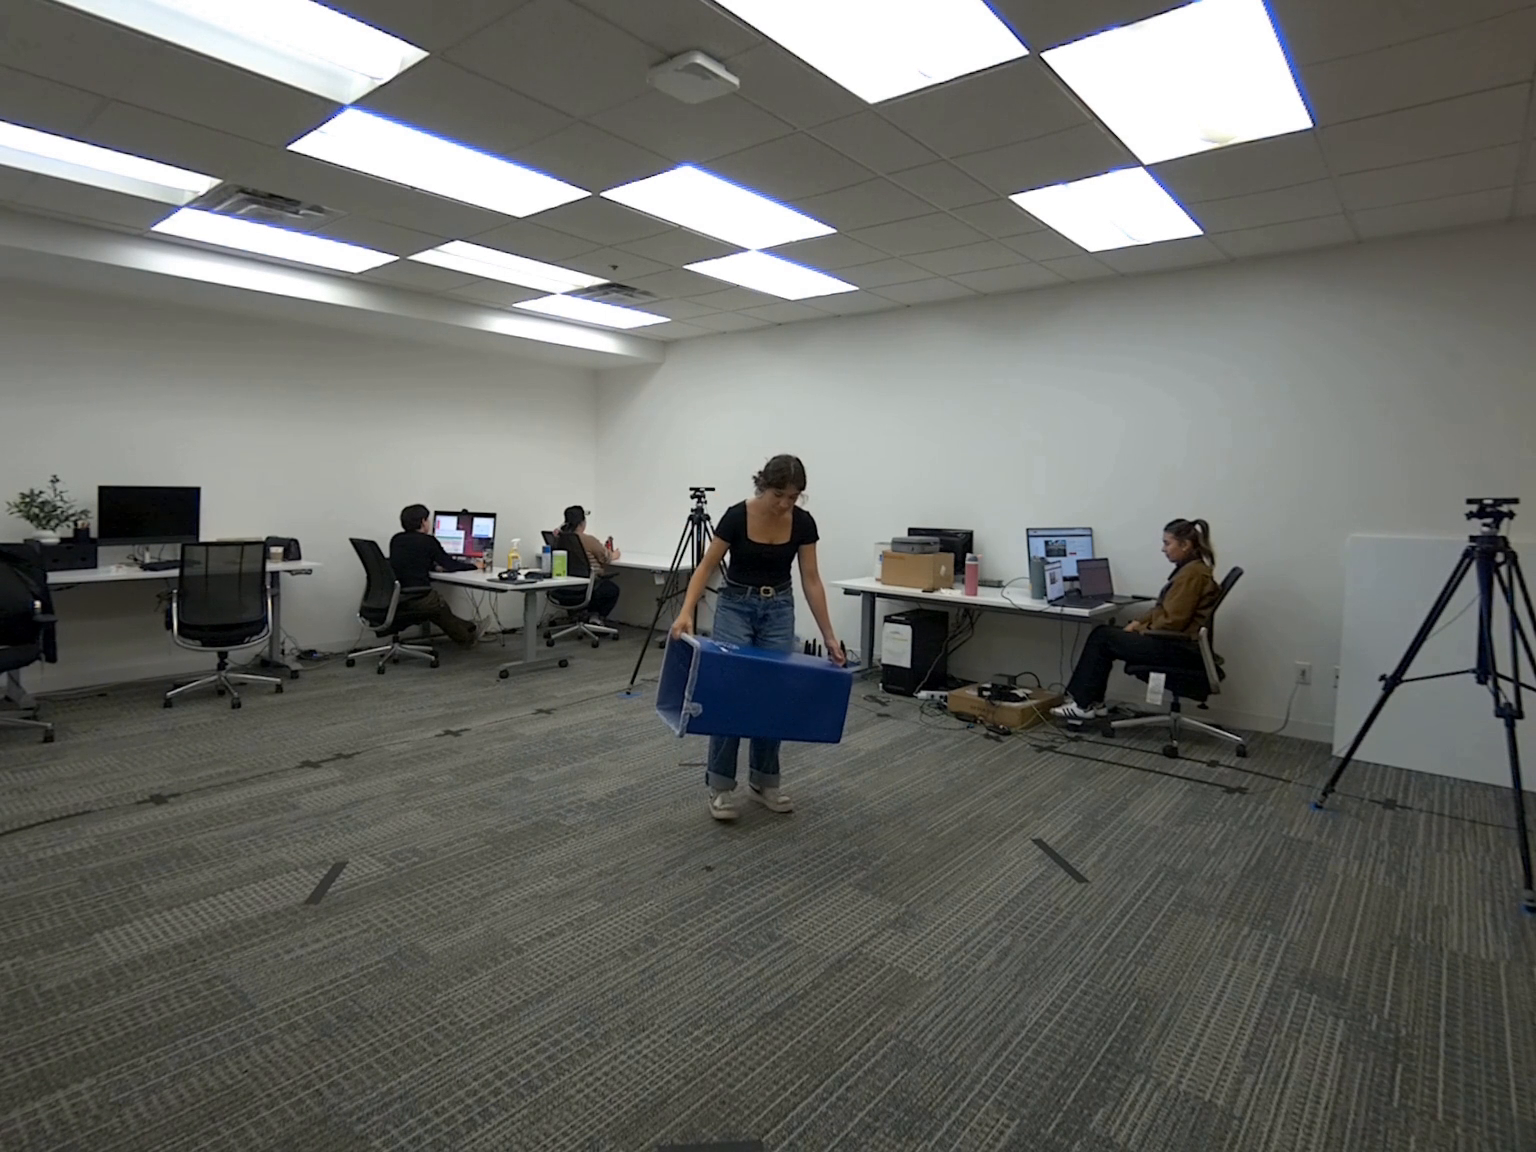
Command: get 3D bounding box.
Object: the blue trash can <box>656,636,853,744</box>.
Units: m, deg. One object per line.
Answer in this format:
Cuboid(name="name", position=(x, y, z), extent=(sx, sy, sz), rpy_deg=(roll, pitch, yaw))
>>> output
Cuboid(name="blue trash can", position=(-0.065, 0.470, 3.497), extent=(0.697, 0.374, 0.387), rpy_deg=(10, 2, -21))
